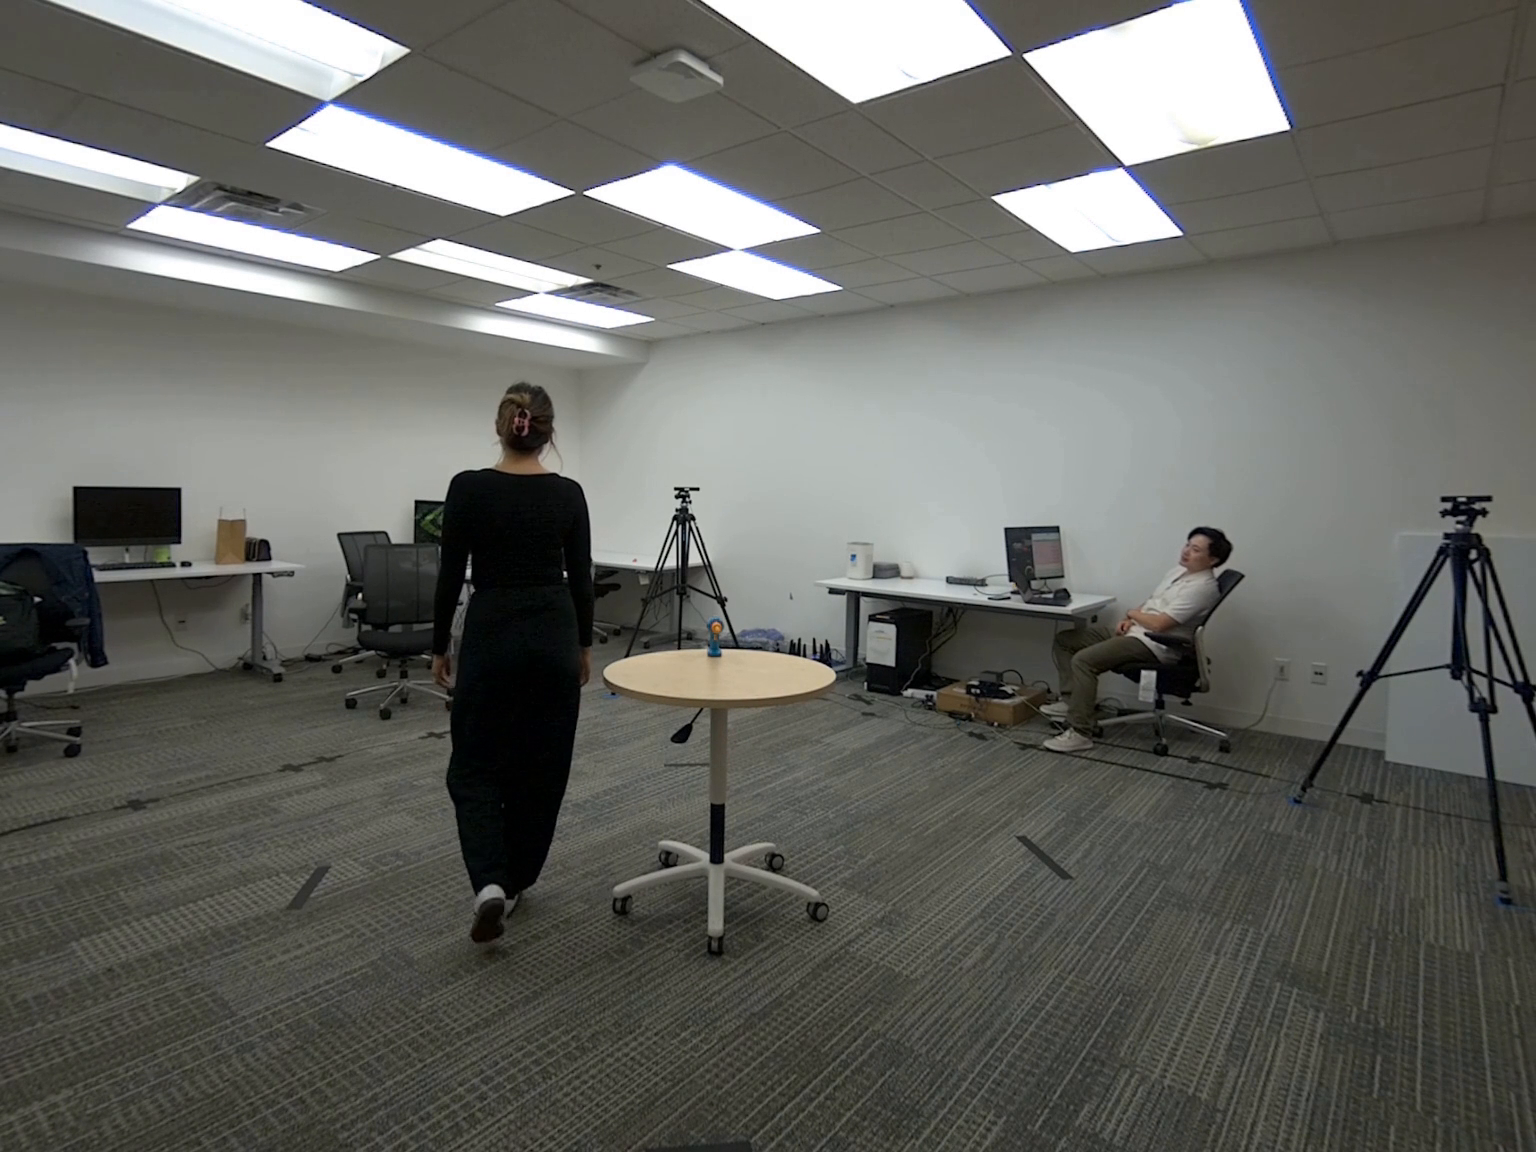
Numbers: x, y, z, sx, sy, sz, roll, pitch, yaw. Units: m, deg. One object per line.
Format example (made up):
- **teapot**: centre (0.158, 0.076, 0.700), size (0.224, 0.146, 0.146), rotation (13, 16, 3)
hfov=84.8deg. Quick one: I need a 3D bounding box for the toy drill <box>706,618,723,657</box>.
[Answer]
- **toy drill**: centre (-0.196, 0.219, 3.043), size (0.060, 0.145, 0.172), rotation (0, 5, -9)
